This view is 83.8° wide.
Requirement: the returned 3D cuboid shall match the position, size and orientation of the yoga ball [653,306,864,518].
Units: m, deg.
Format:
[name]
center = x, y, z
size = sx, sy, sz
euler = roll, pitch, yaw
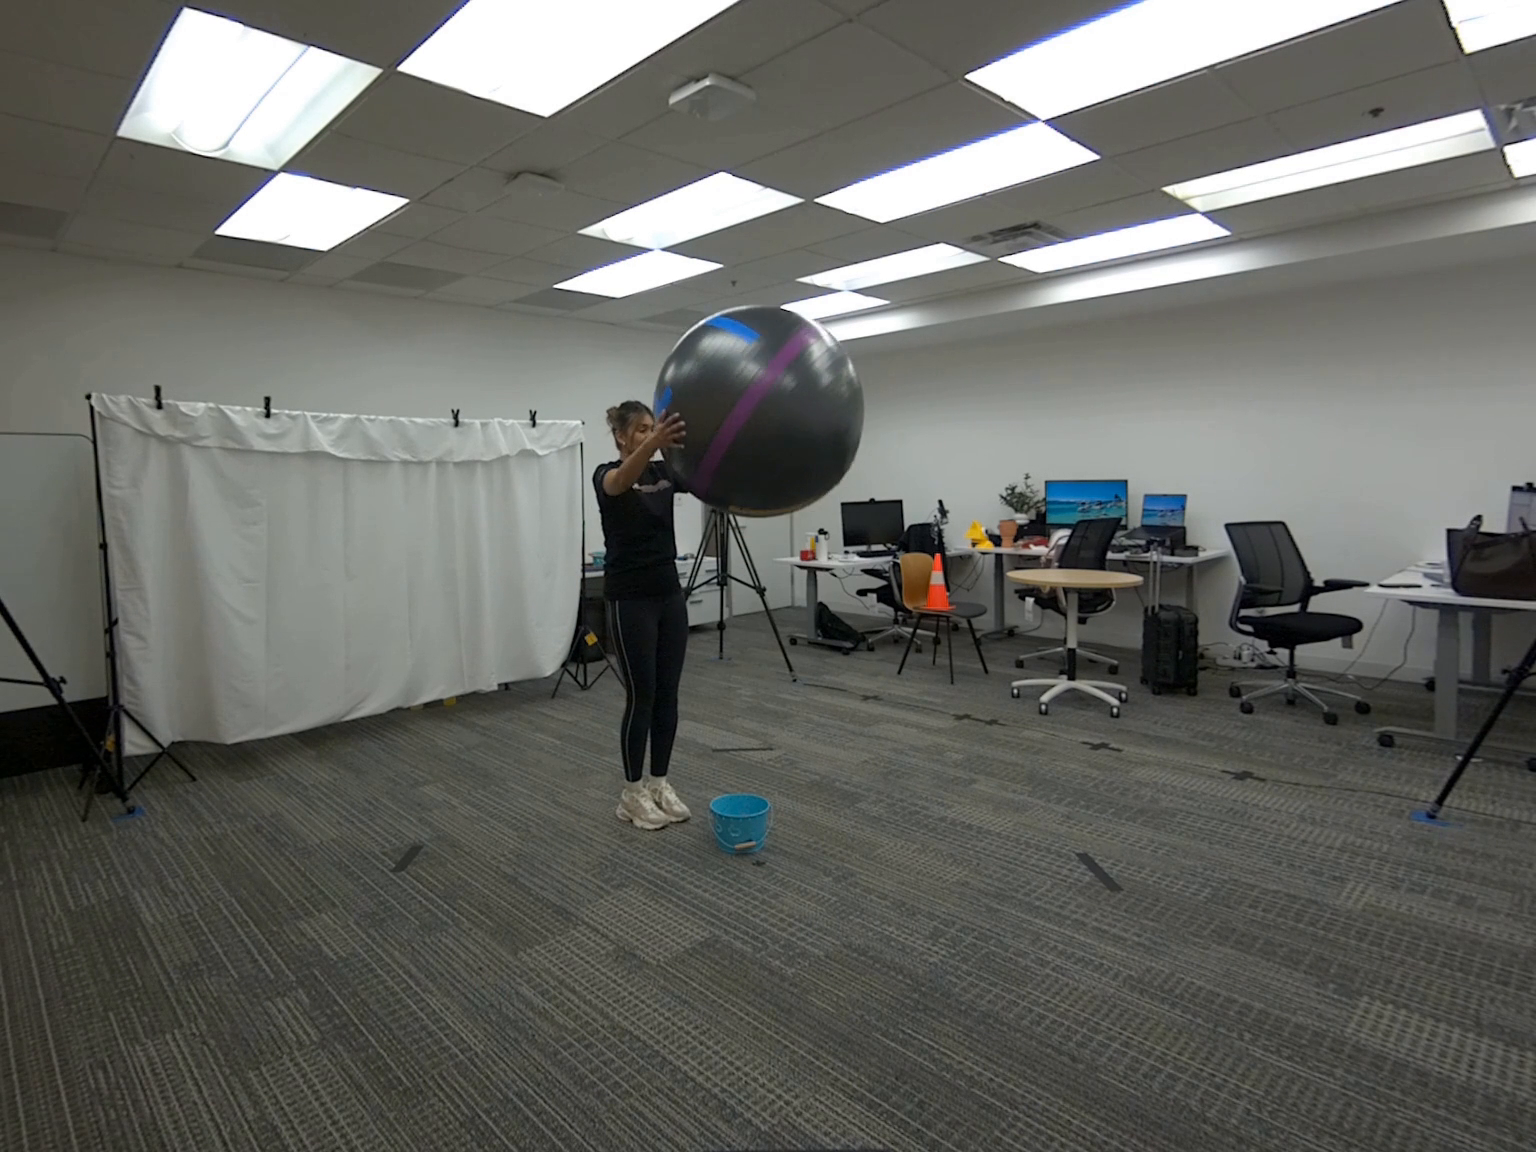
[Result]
[yoga ball]
center = -0.032, -0.577, 3.076
size = 0.757, 0.755, 0.762
euler = -1, 5, -2
